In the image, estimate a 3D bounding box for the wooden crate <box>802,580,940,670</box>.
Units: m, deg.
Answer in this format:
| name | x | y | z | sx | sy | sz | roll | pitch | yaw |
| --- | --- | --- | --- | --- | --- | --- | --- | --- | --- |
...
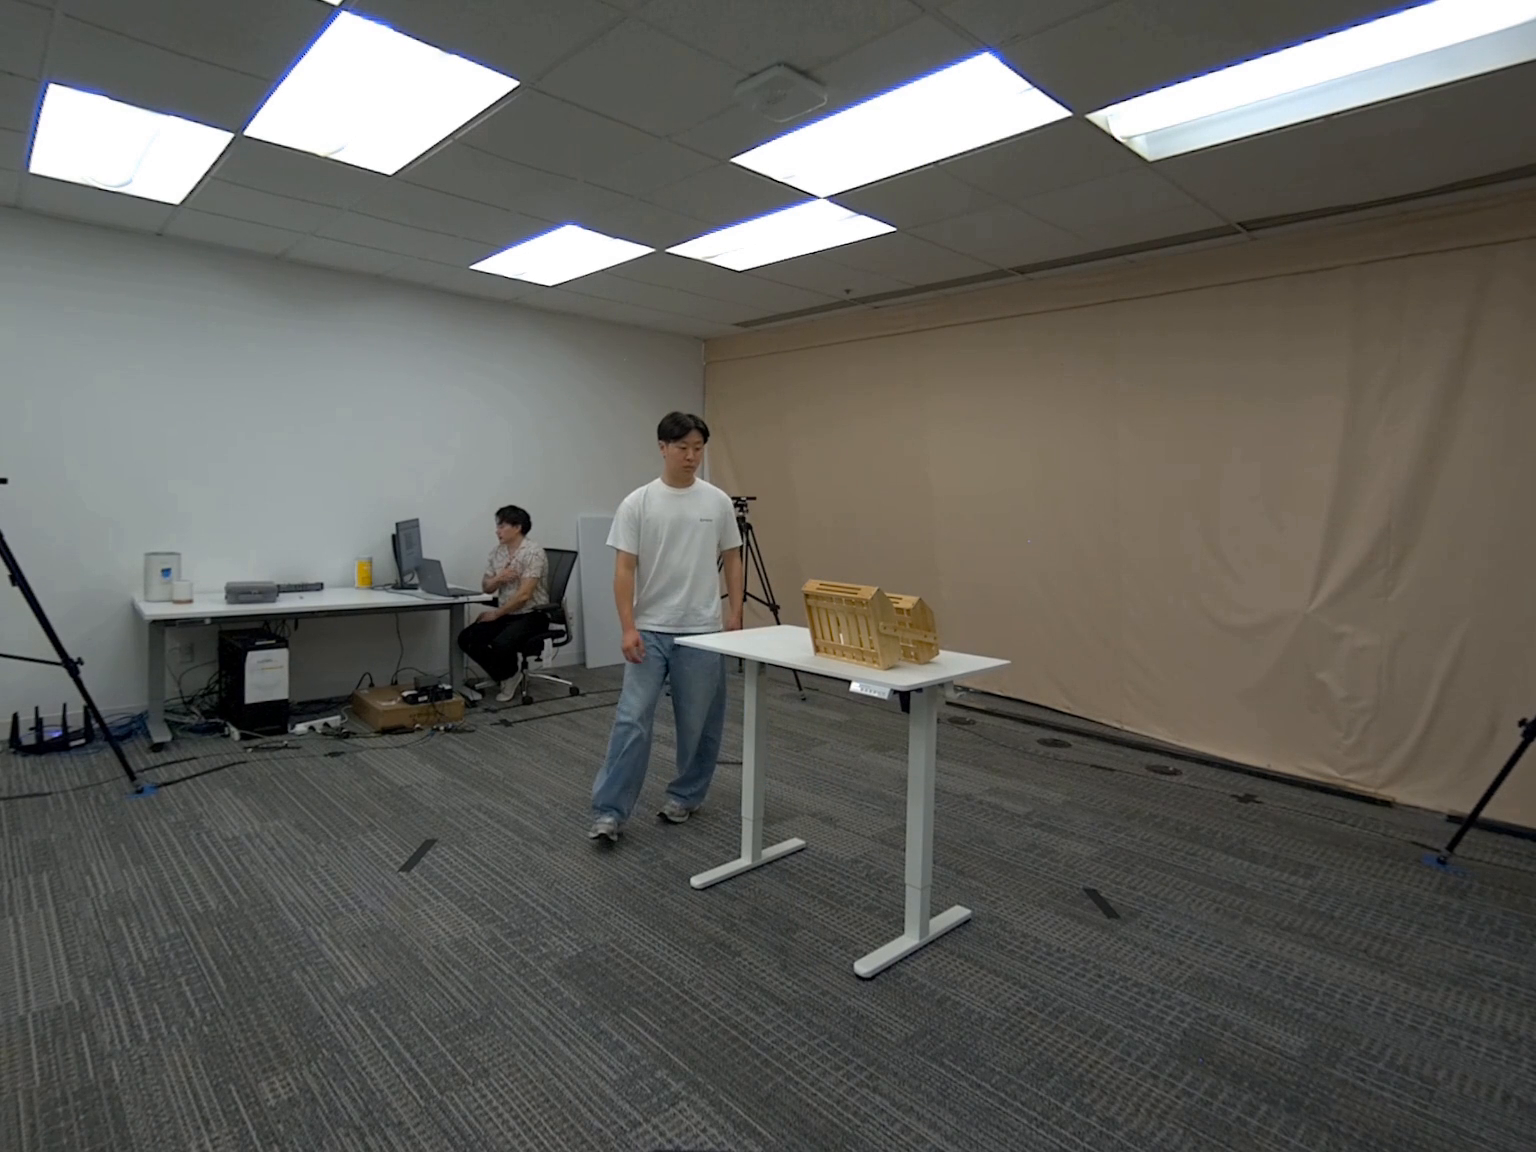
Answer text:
| name | x | y | z | sx | sy | sz | roll | pitch | yaw |
| --- | --- | --- | --- | --- | --- | --- | --- | --- | --- |
| wooden crate | 0.324 | 0.139 | 2.695 | 0.269 | 0.298 | 0.333 | -21 | 17 | -36 |
